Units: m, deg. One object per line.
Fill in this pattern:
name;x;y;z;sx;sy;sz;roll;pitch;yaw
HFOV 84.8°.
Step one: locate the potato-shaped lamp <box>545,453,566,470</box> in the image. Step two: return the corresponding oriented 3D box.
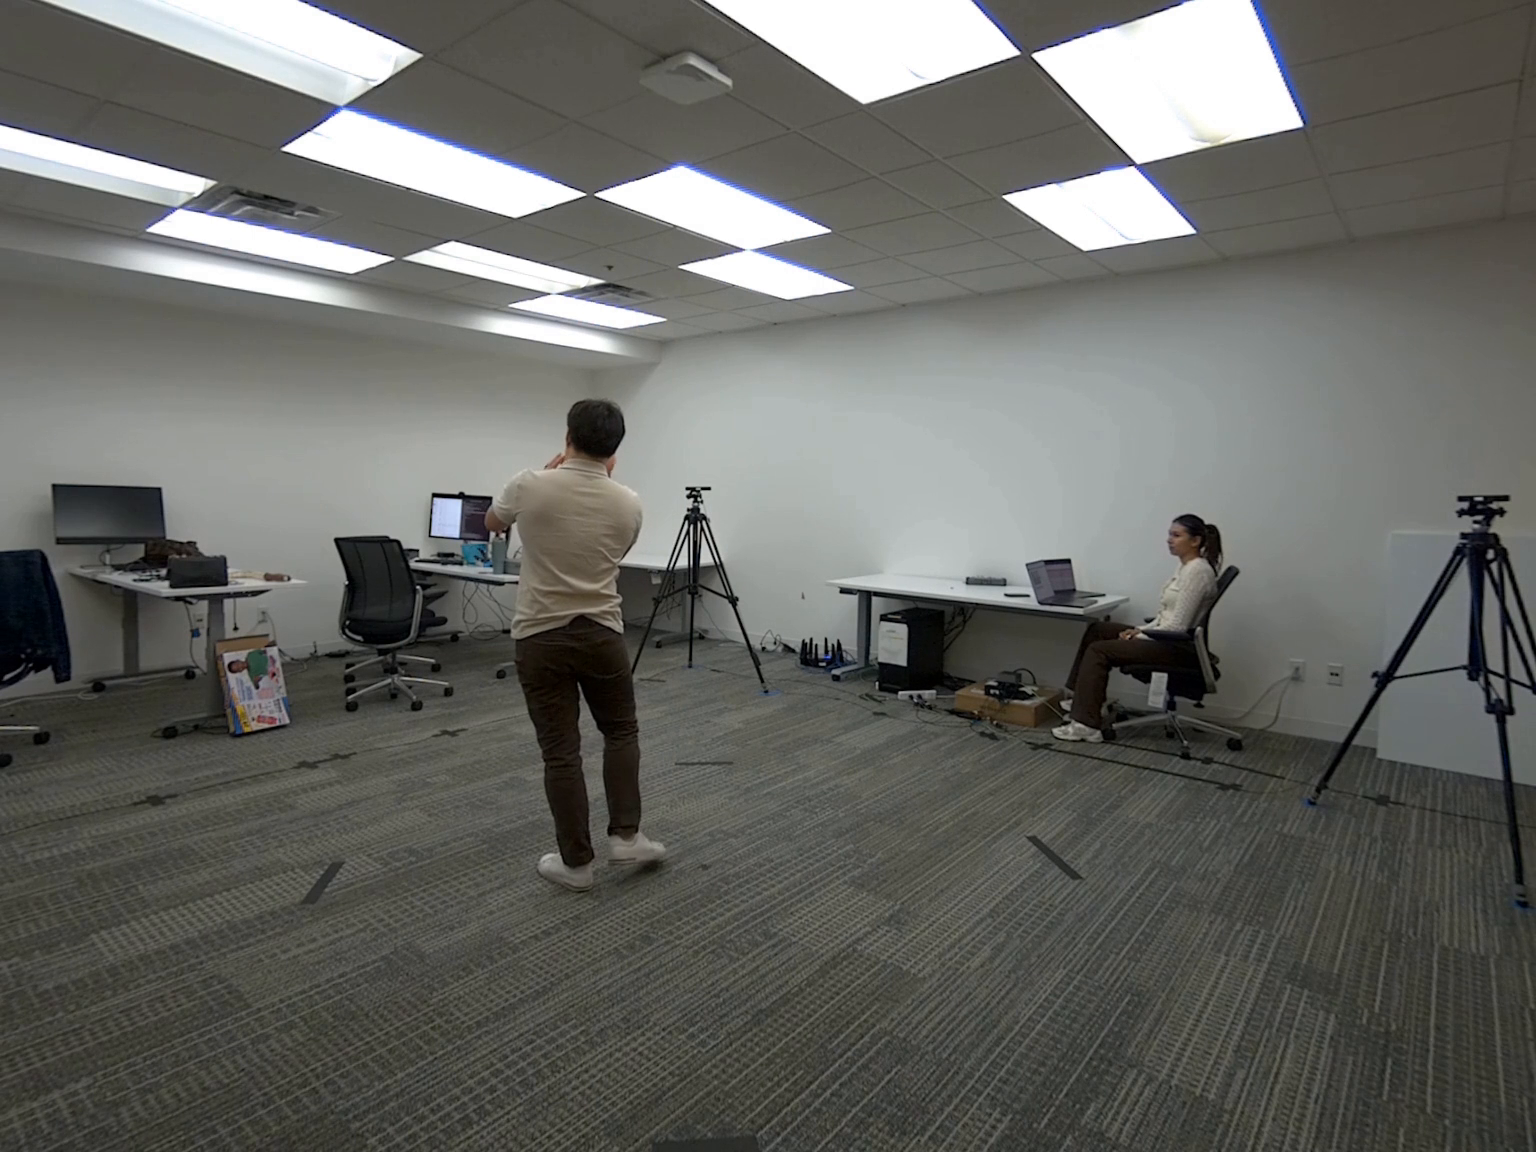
potato-shaped lamp;-0.679;-0.433;3.240;0.198;0.177;0.158;-41;-29;15
